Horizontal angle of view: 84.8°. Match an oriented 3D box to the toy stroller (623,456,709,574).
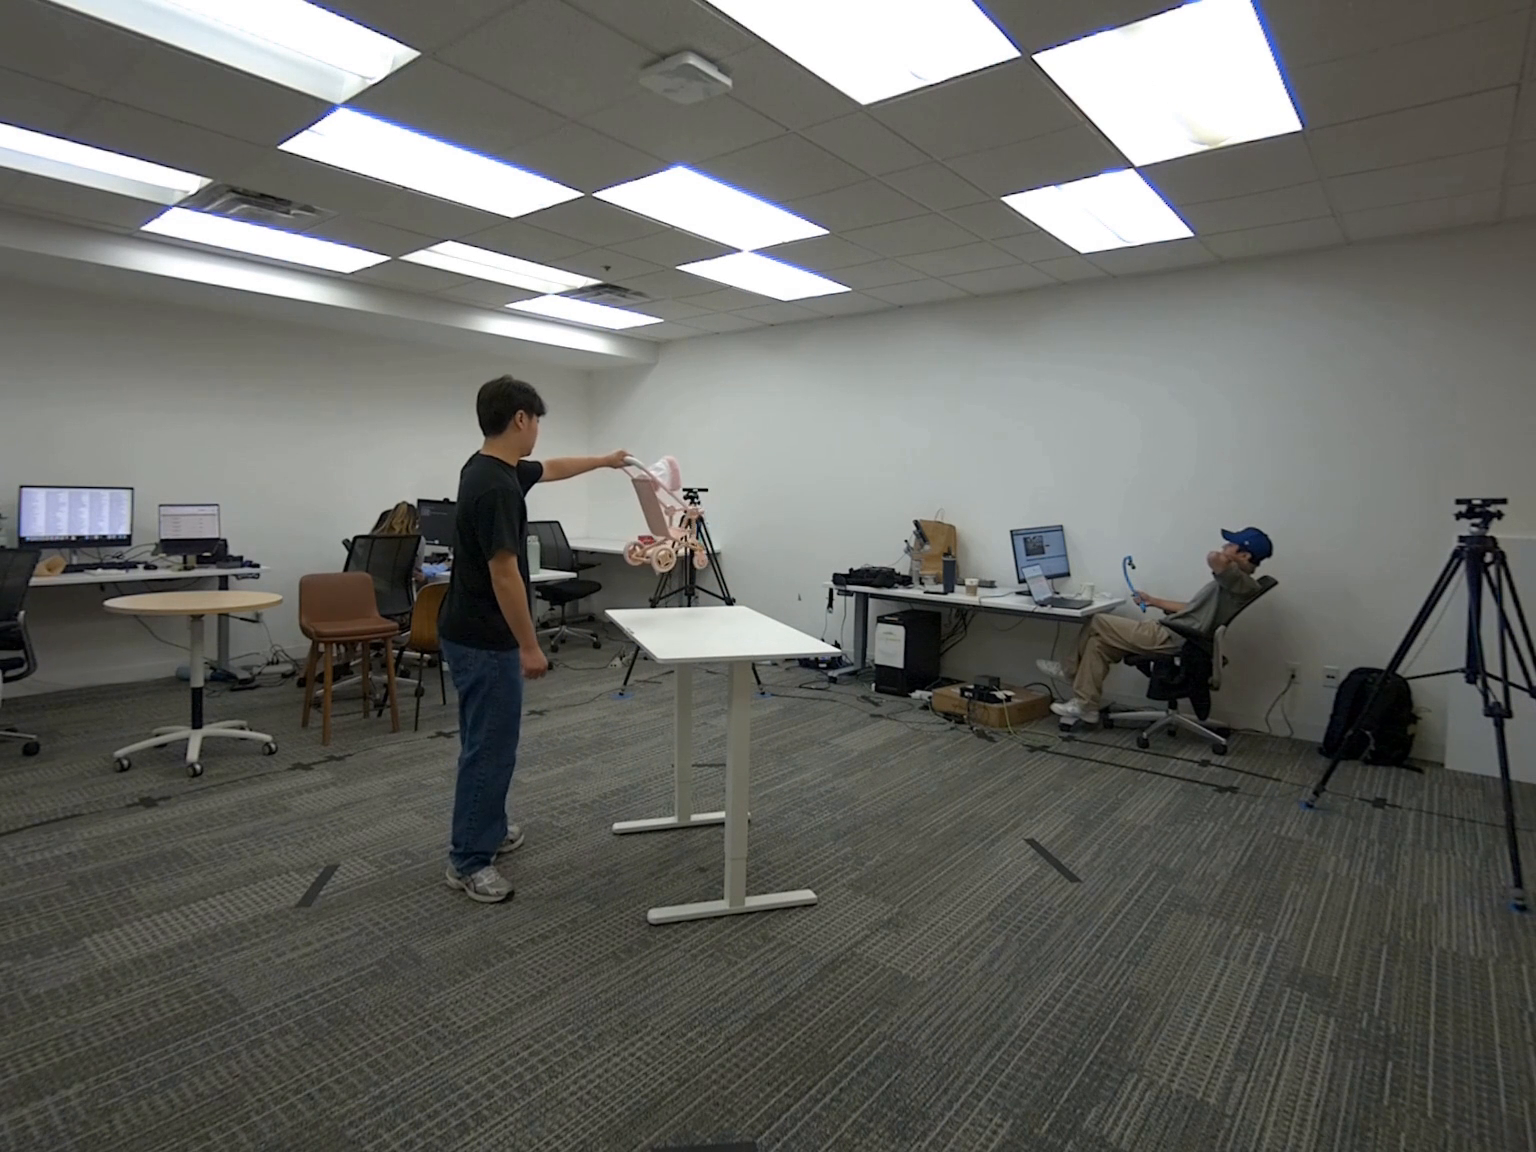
[{"bbox_3d":[-0.436,-0.257,3.549,0.334,0.530,0.290,-13,10,-29],"label":"toy stroller"}]
